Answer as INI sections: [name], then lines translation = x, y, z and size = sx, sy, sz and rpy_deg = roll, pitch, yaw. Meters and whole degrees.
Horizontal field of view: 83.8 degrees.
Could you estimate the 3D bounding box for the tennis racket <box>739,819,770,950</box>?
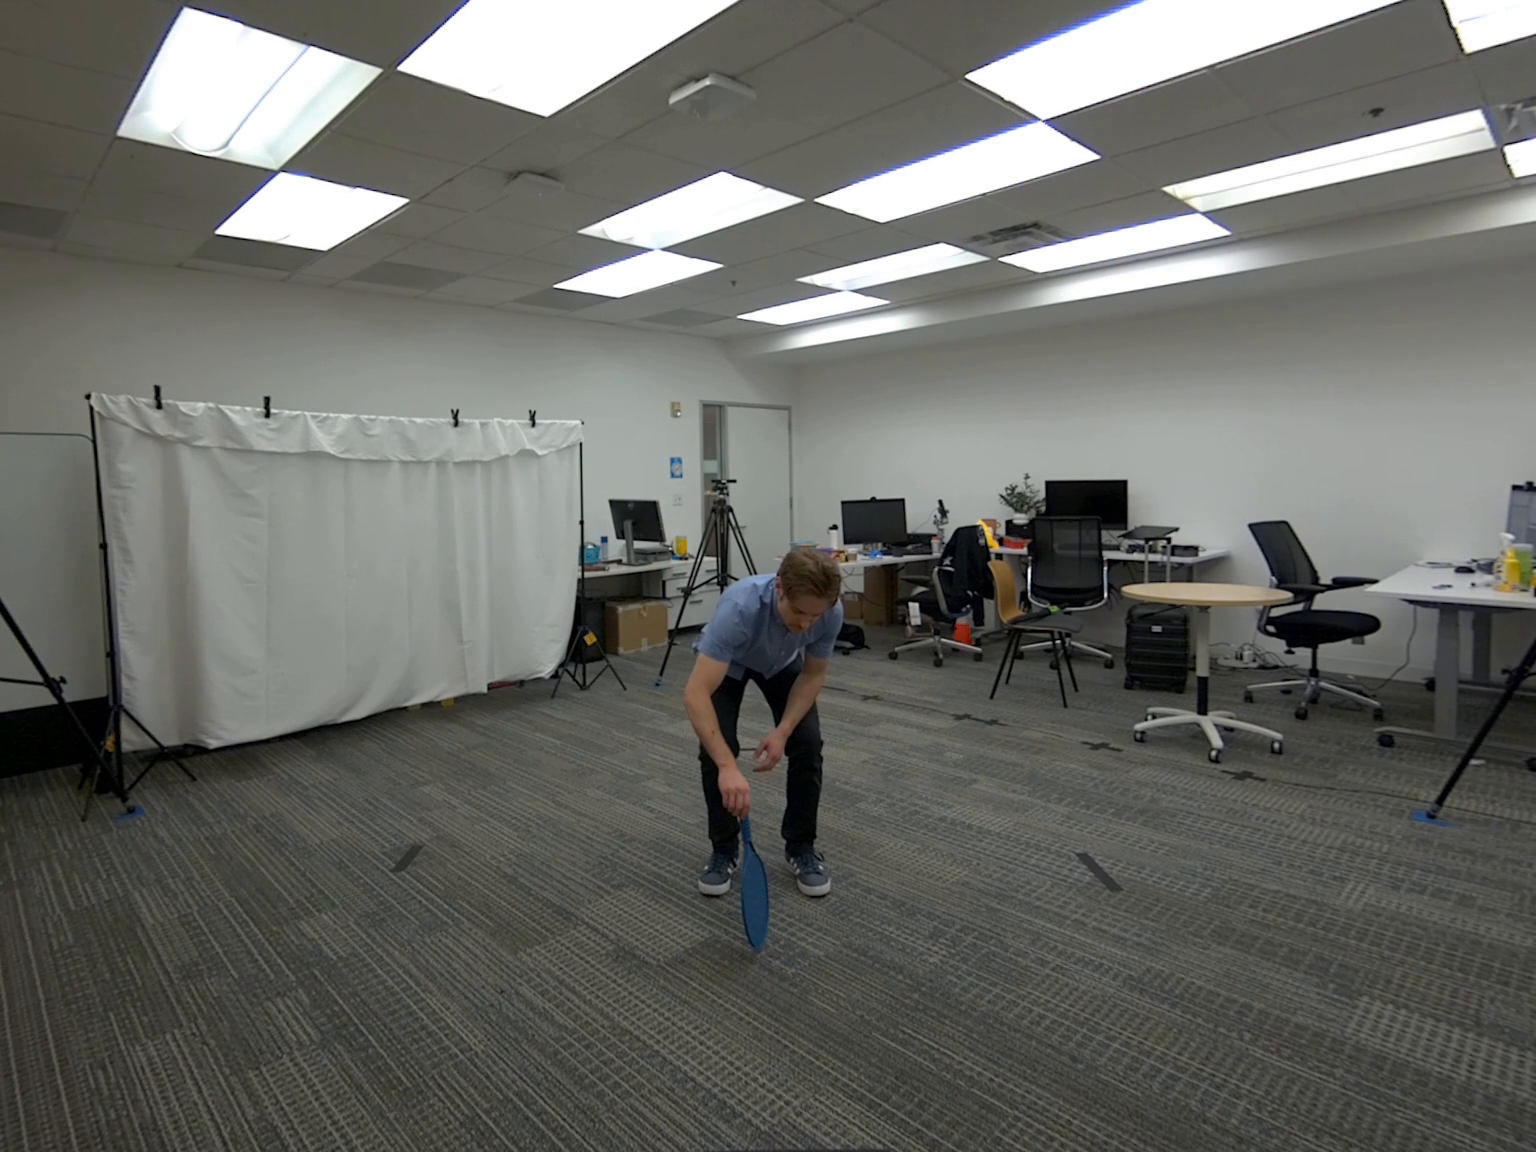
[tennis racket]
translation = -0.045, 0.875, 2.528
size = 0.032, 0.434, 0.210
rpy_deg = -8, -3, 18
